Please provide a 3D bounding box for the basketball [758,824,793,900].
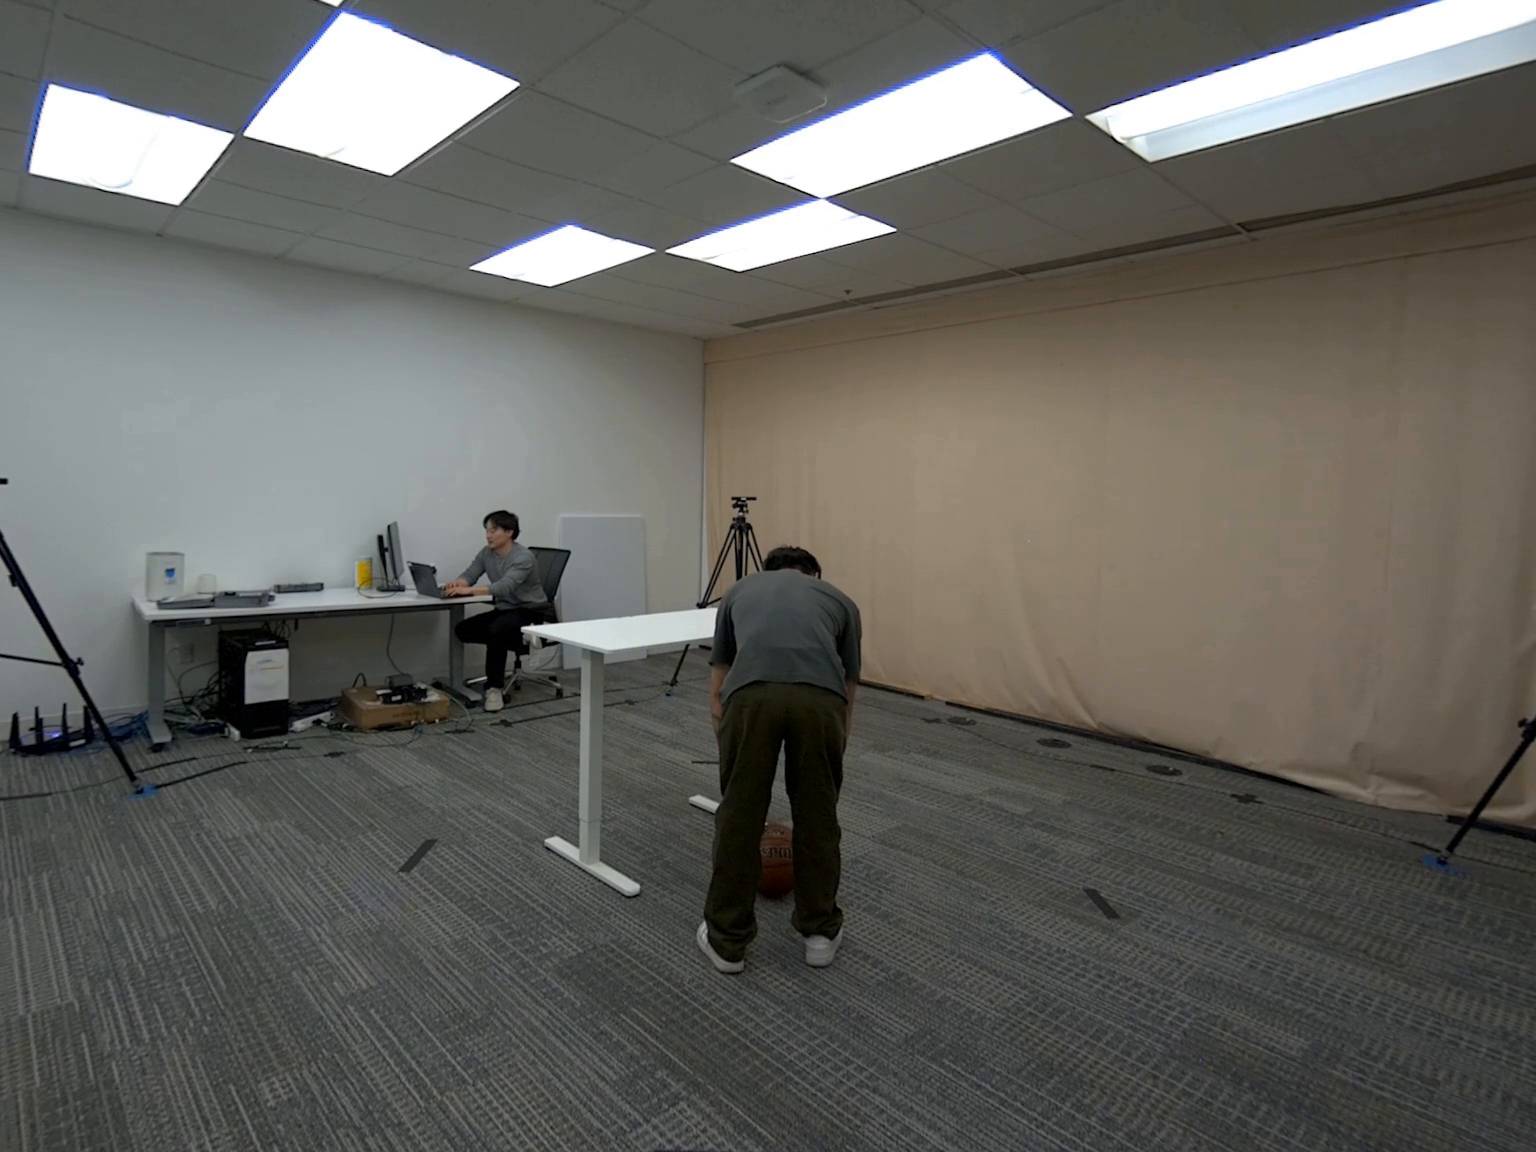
[{"bbox_3d":[0.016,1.003,2.973,0.236,0.235,0.237,1,4,-1],"label":"basketball"}]
